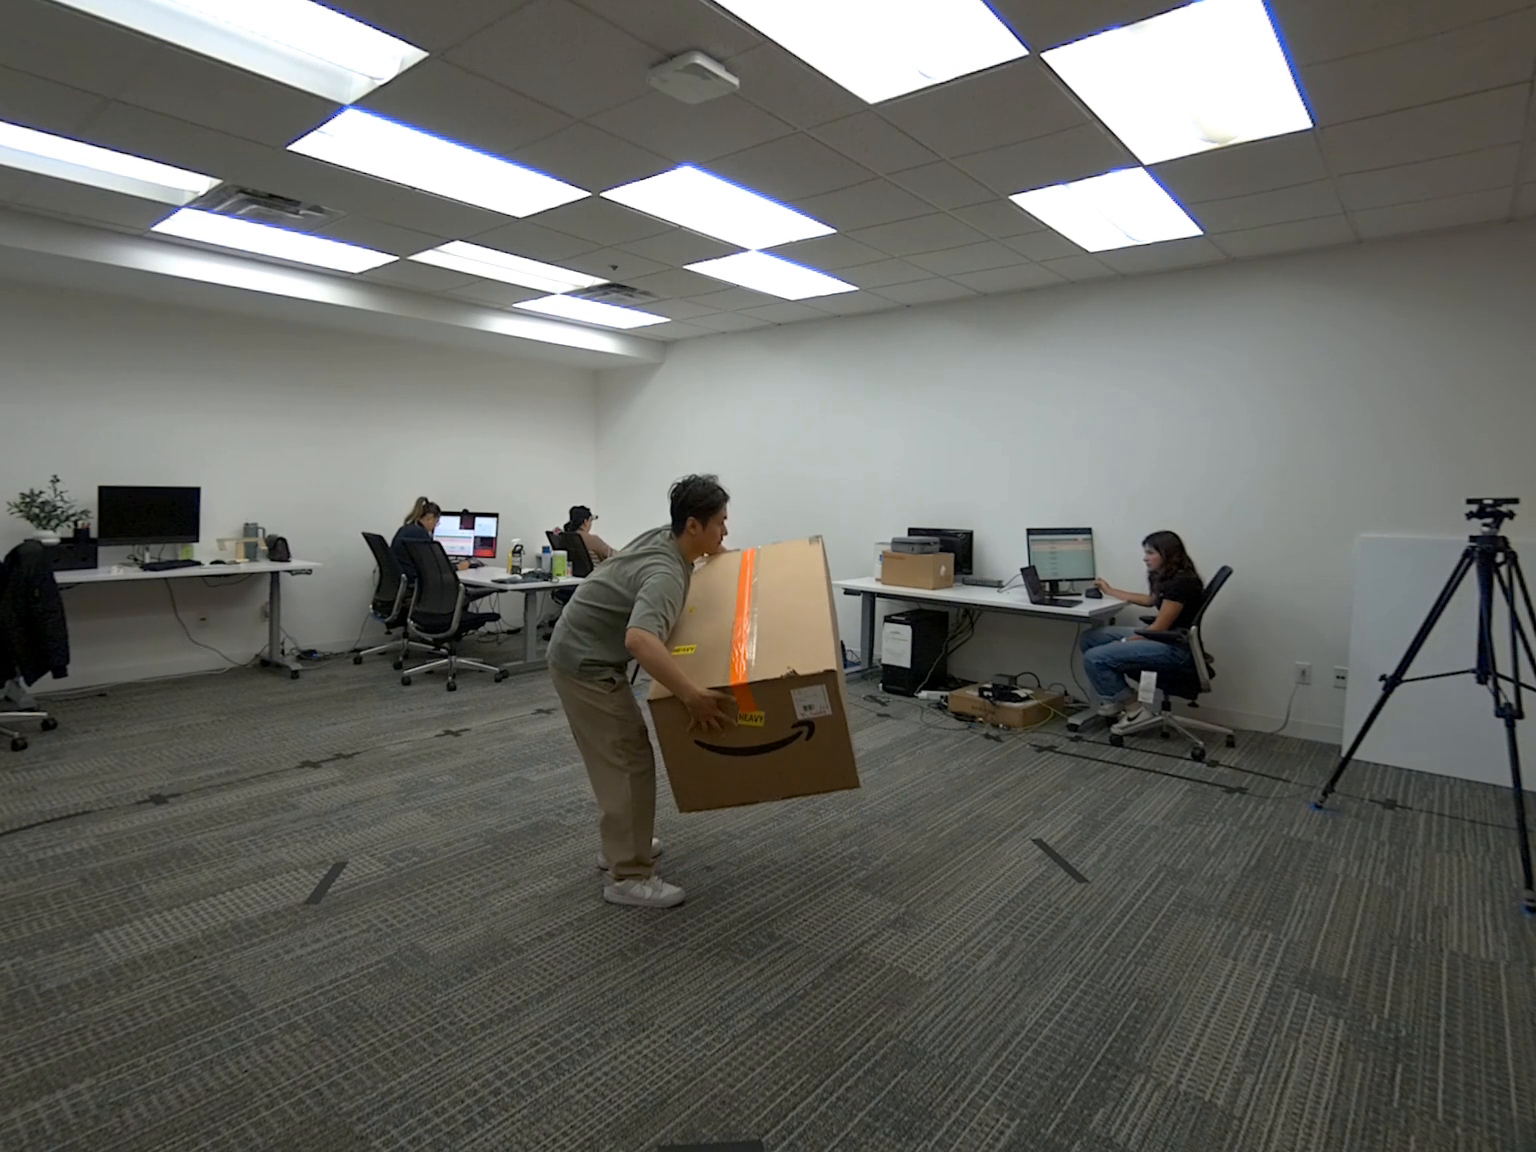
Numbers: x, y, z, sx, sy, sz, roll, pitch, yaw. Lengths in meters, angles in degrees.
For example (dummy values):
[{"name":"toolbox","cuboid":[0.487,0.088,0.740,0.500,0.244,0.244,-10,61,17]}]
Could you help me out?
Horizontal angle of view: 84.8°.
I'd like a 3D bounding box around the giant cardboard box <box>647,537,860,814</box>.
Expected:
[{"name":"giant cardboard box","cuboid":[-0.032,0.286,3.015,0.581,0.416,1.044,-10,24,6]}]
